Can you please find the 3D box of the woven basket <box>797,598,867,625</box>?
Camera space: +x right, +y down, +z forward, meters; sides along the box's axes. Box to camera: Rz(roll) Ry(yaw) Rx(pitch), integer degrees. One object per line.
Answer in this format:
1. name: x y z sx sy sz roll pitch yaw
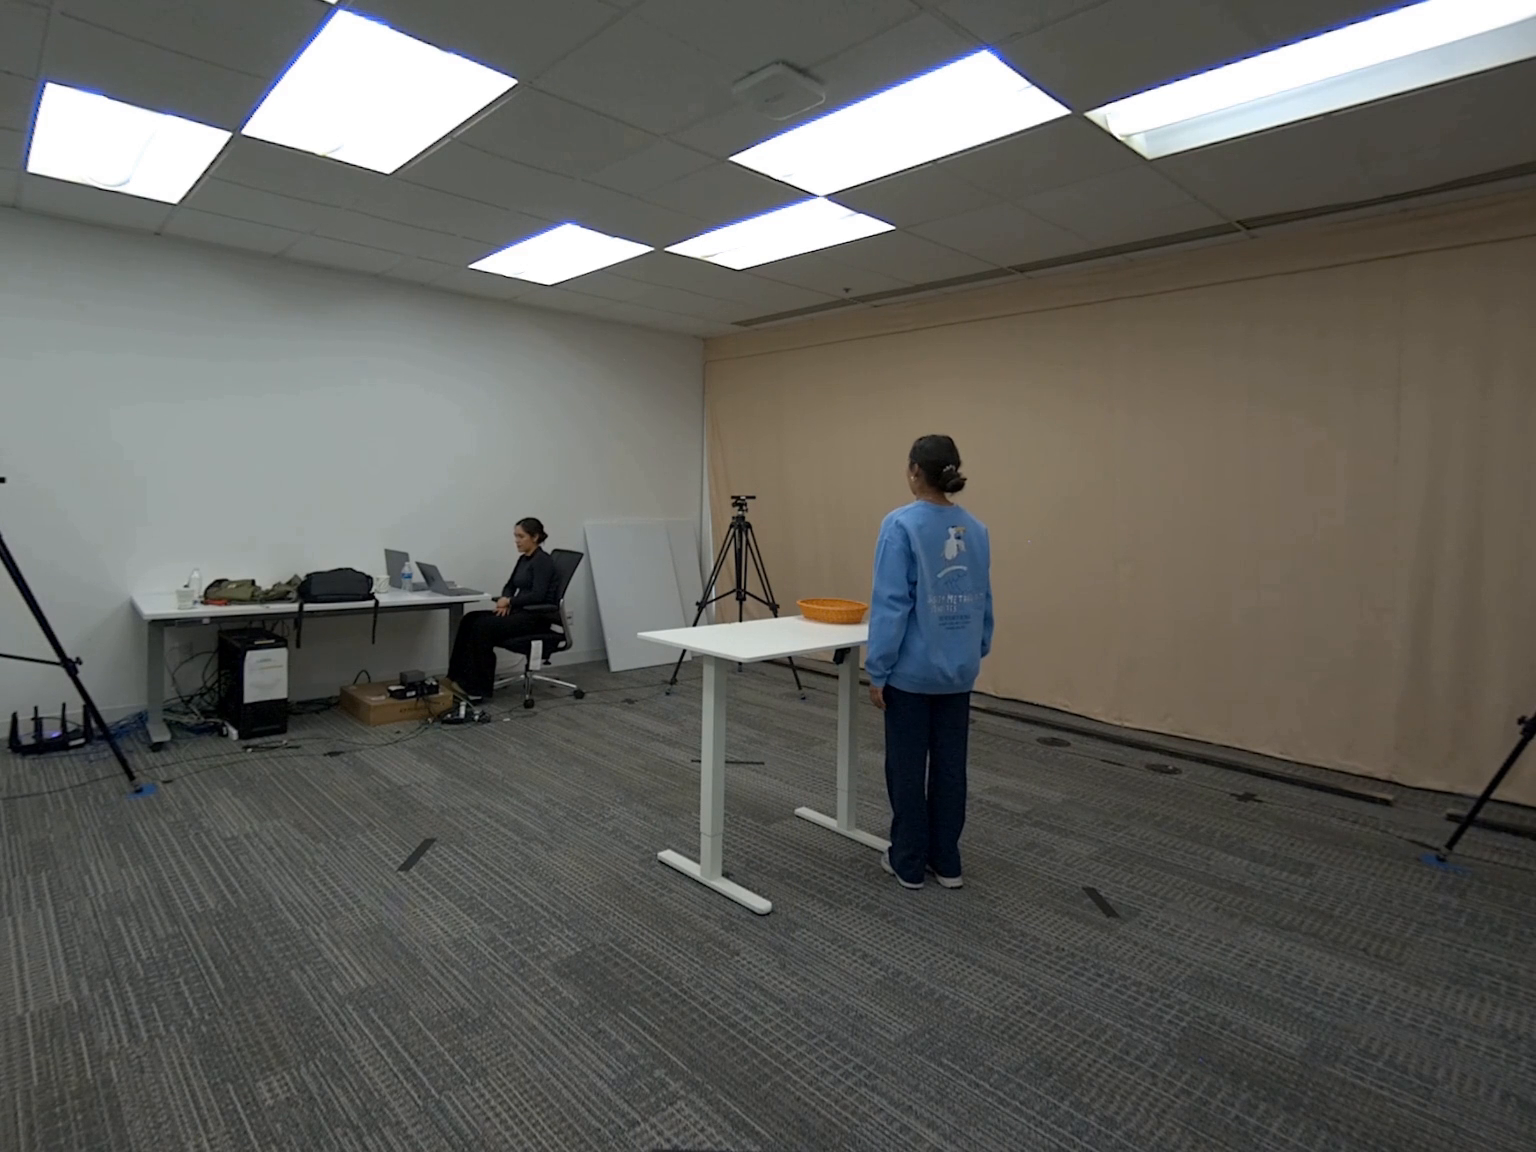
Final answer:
1. woven basket: 0.267 0.158 3.588 0.247 0.073 0.358 -2 6 -31
